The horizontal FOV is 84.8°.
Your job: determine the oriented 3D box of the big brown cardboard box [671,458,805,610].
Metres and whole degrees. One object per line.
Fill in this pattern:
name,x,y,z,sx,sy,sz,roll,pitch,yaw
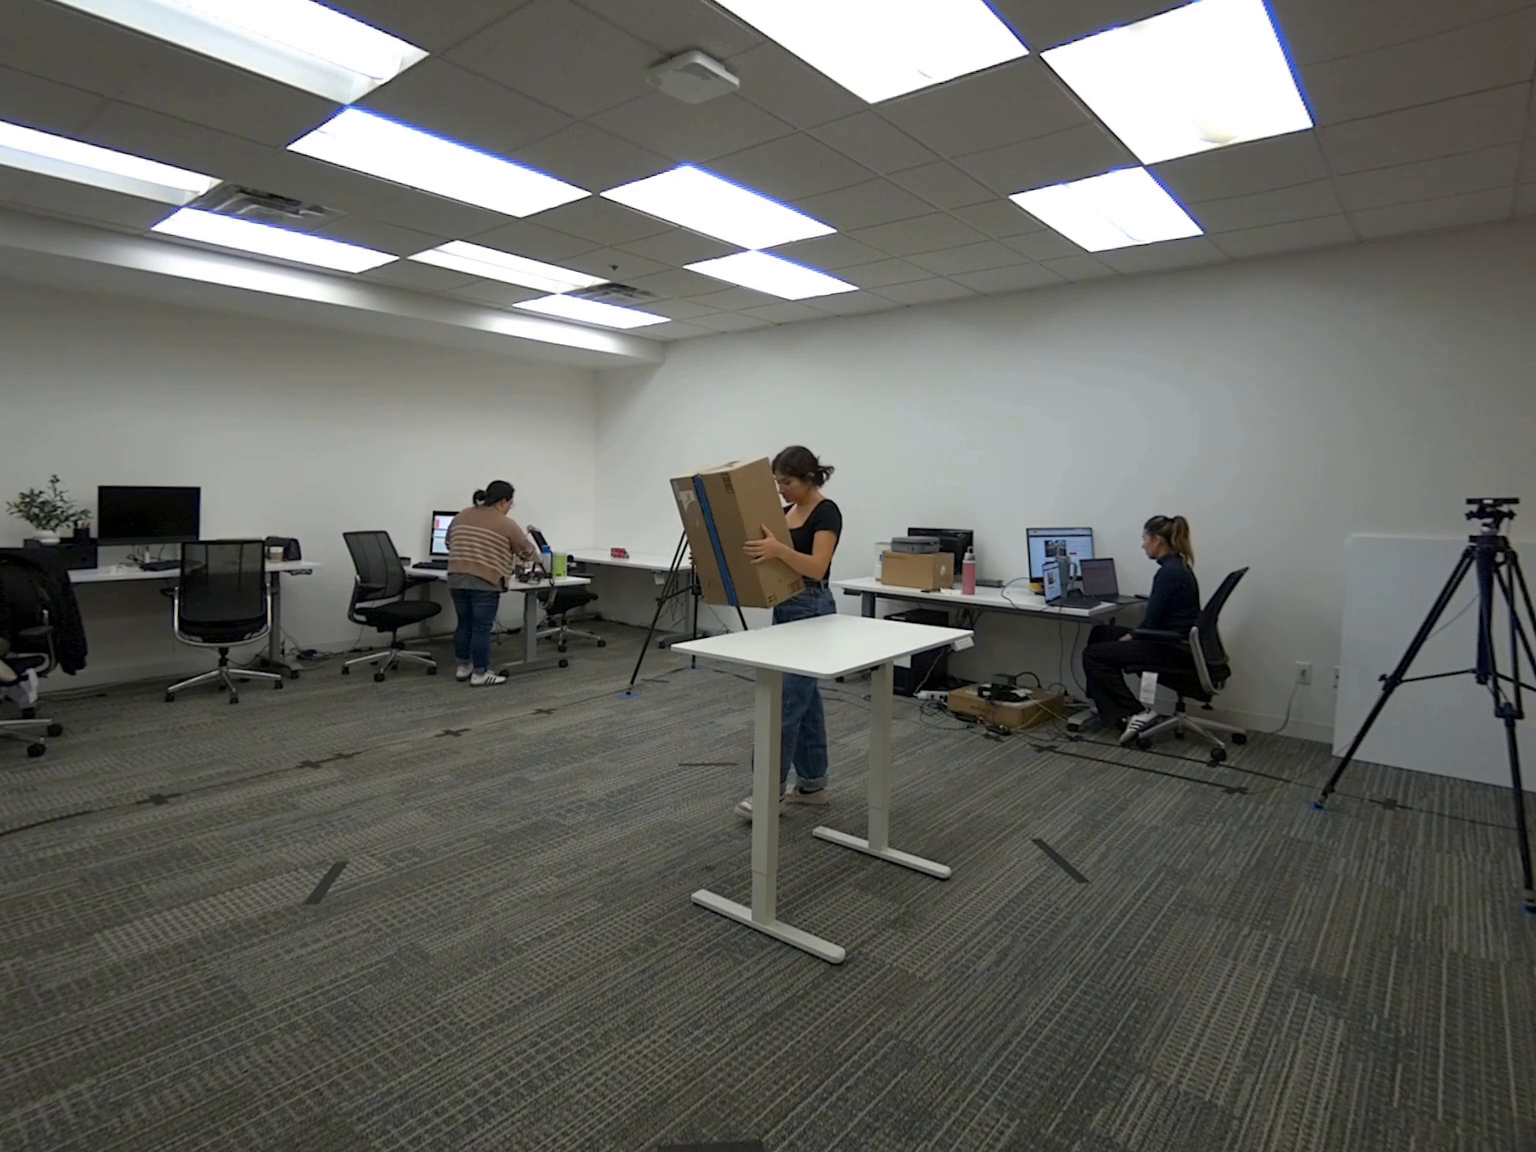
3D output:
big brown cardboard box,-0.148,-0.182,3.511,0.229,0.582,0.430,-23,12,-36
